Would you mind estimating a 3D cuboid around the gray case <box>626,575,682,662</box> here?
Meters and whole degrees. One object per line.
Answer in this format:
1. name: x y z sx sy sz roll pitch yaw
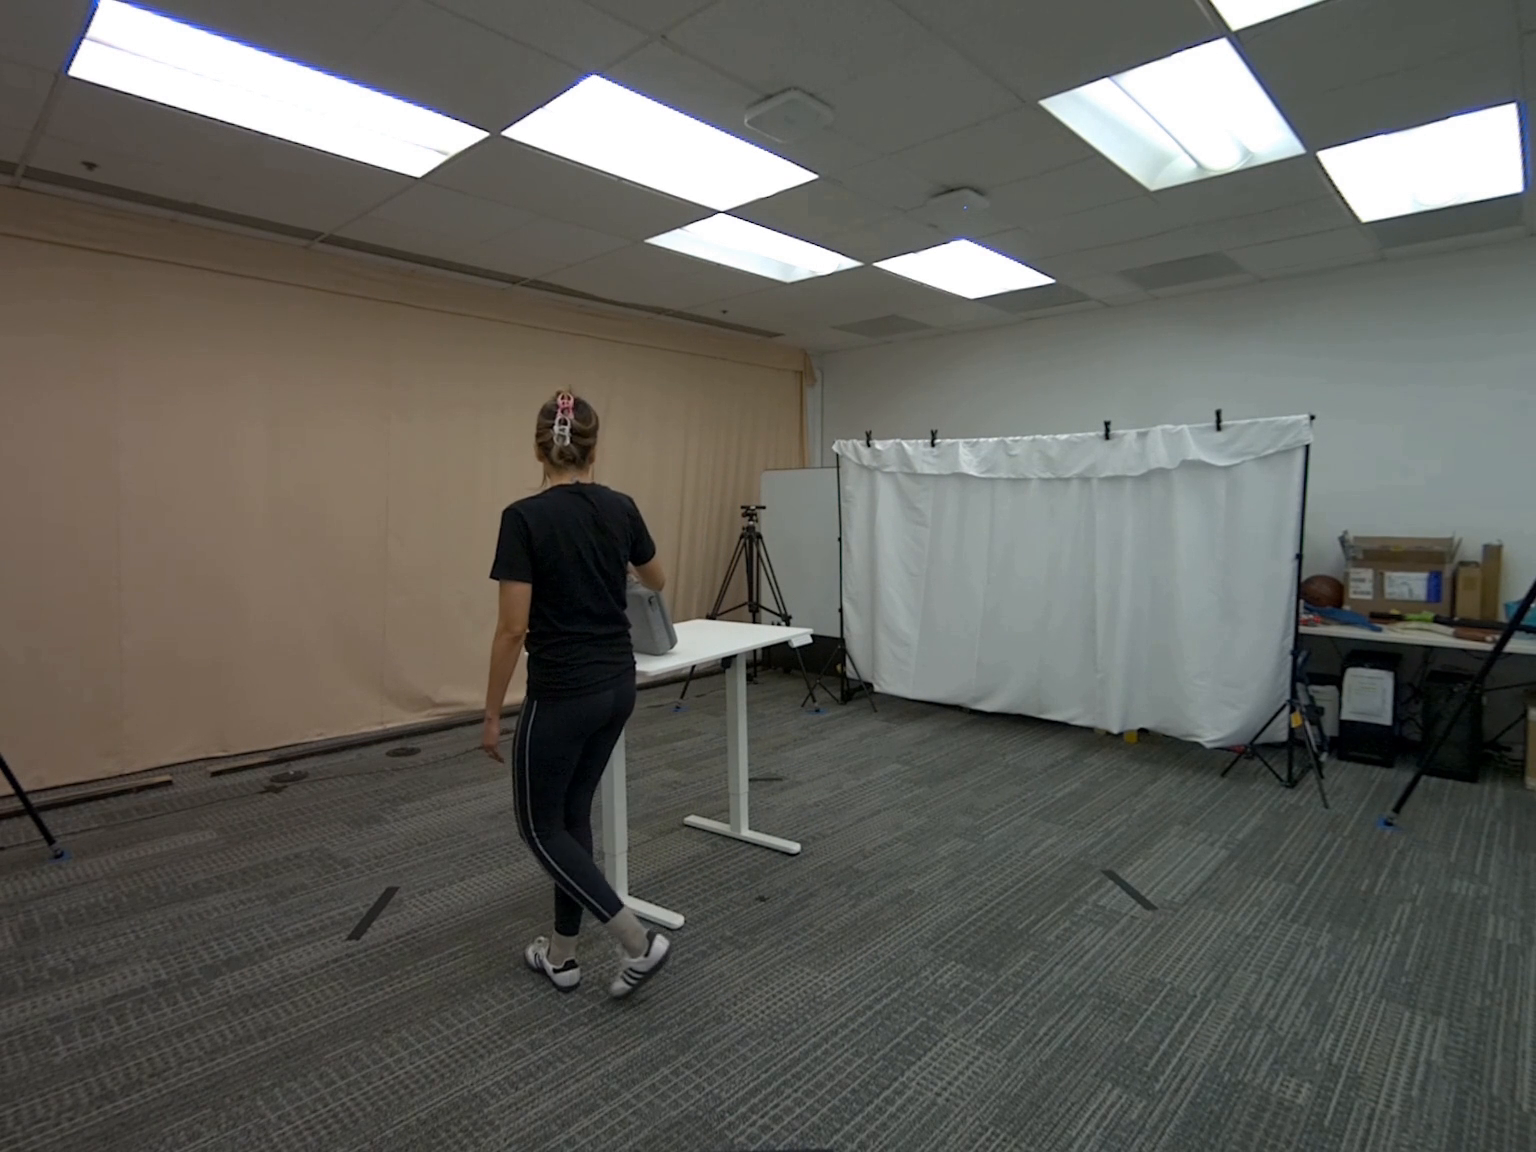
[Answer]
1. gray case: -0.453 0.136 2.941 0.102 0.257 0.265 -25 20 -38
